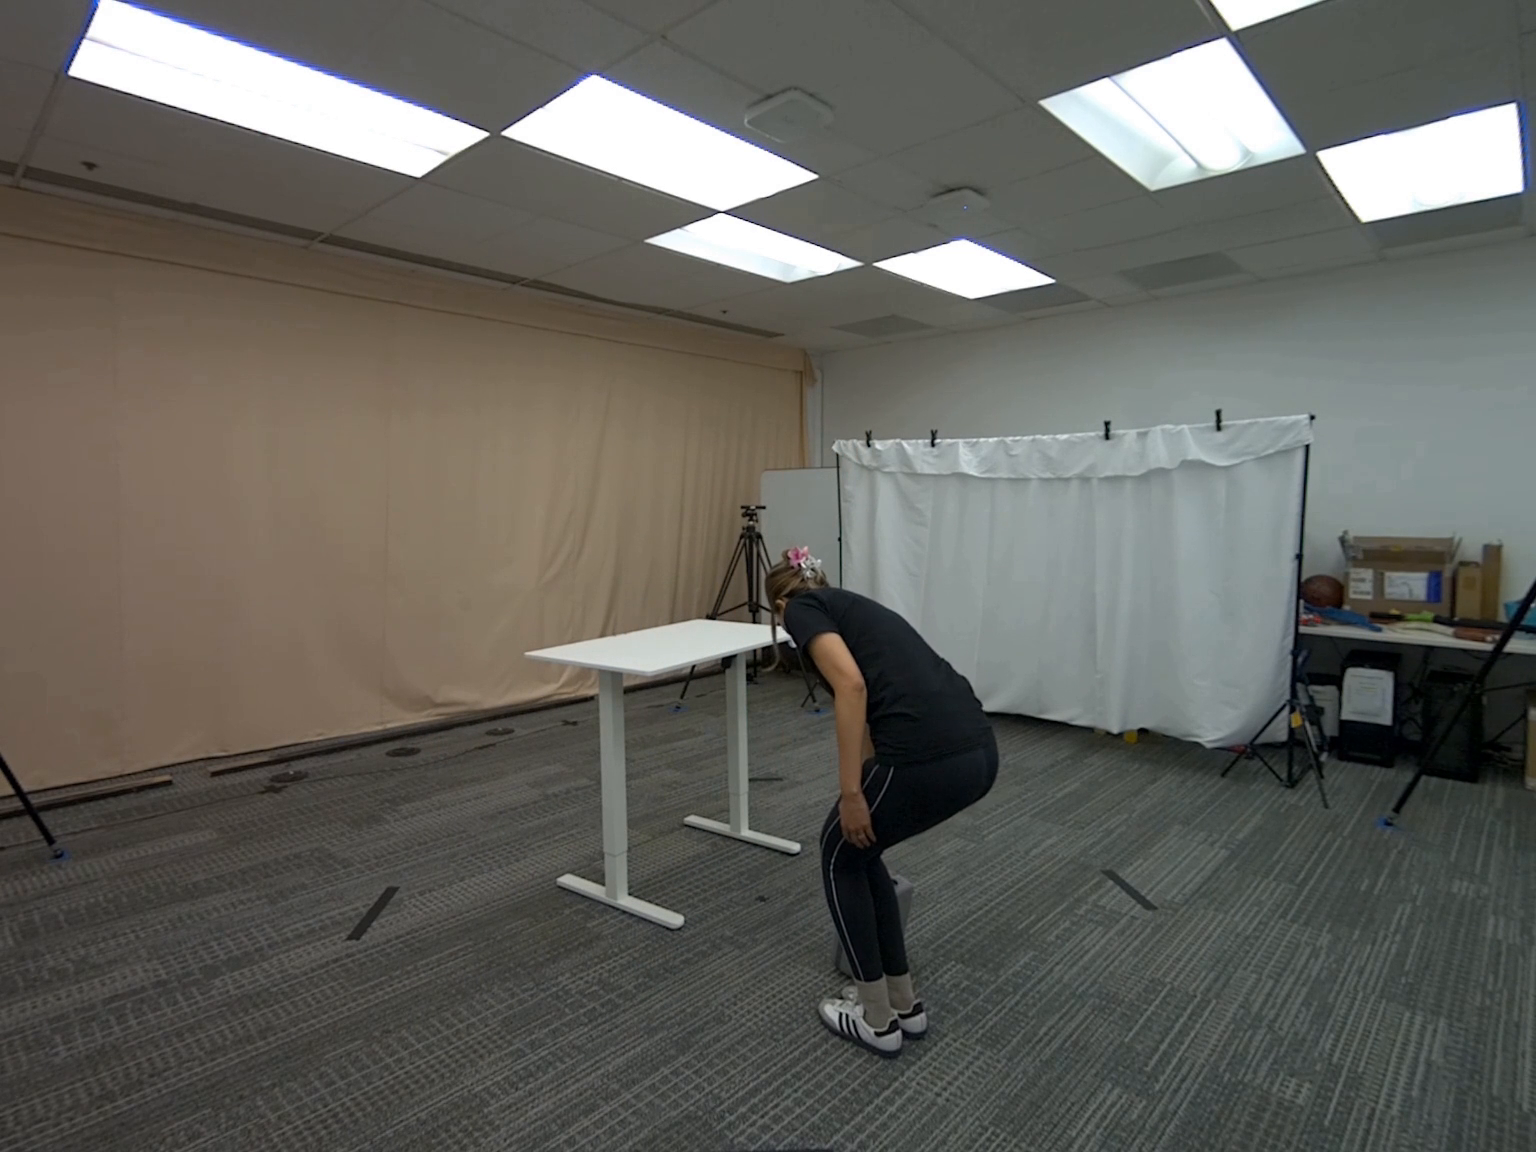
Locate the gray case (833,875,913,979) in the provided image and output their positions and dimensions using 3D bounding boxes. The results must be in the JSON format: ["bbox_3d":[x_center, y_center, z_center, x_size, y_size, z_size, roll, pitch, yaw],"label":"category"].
[{"bbox_3d":[0.326,1.048,2.547,0.249,0.259,0.108,-3,14,-42],"label":"gray case"}]
